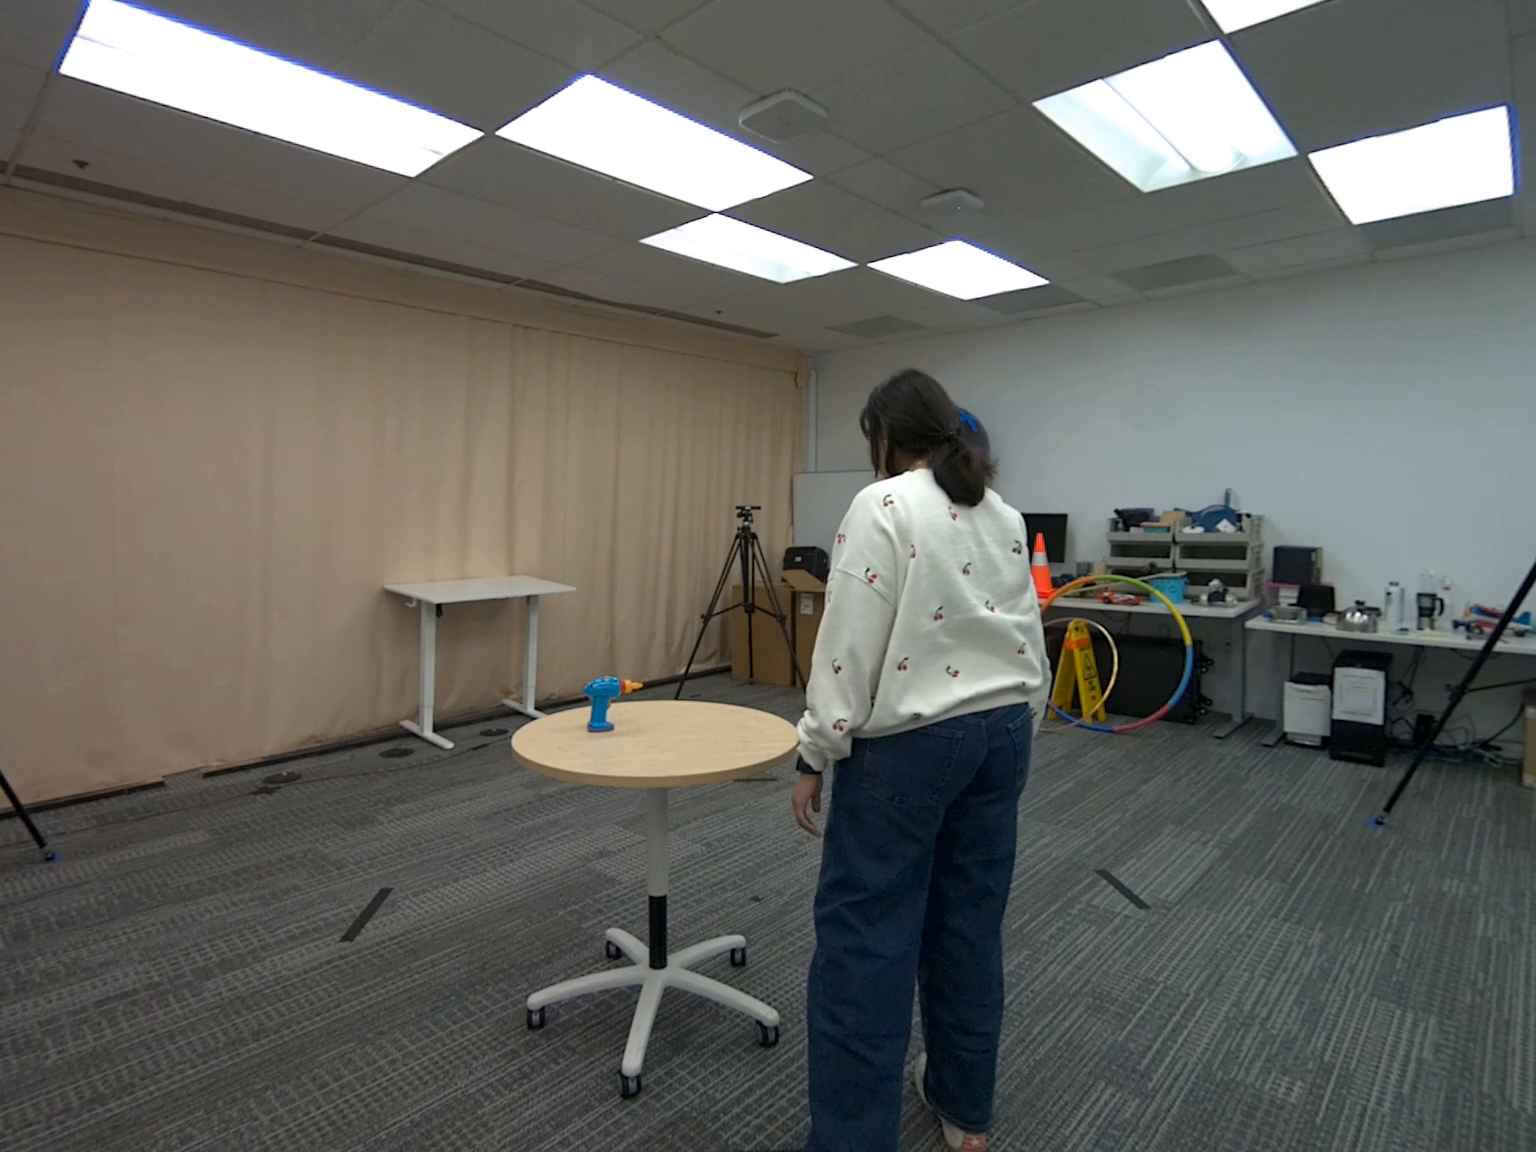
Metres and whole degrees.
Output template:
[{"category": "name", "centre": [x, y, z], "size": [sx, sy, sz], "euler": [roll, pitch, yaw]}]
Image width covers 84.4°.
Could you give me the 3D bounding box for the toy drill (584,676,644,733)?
[{"category": "toy drill", "centre": [-0.425, 0.348, 2.304], "size": [0.165, 0.146, 0.063], "euler": [-1, 0, -26]}]
